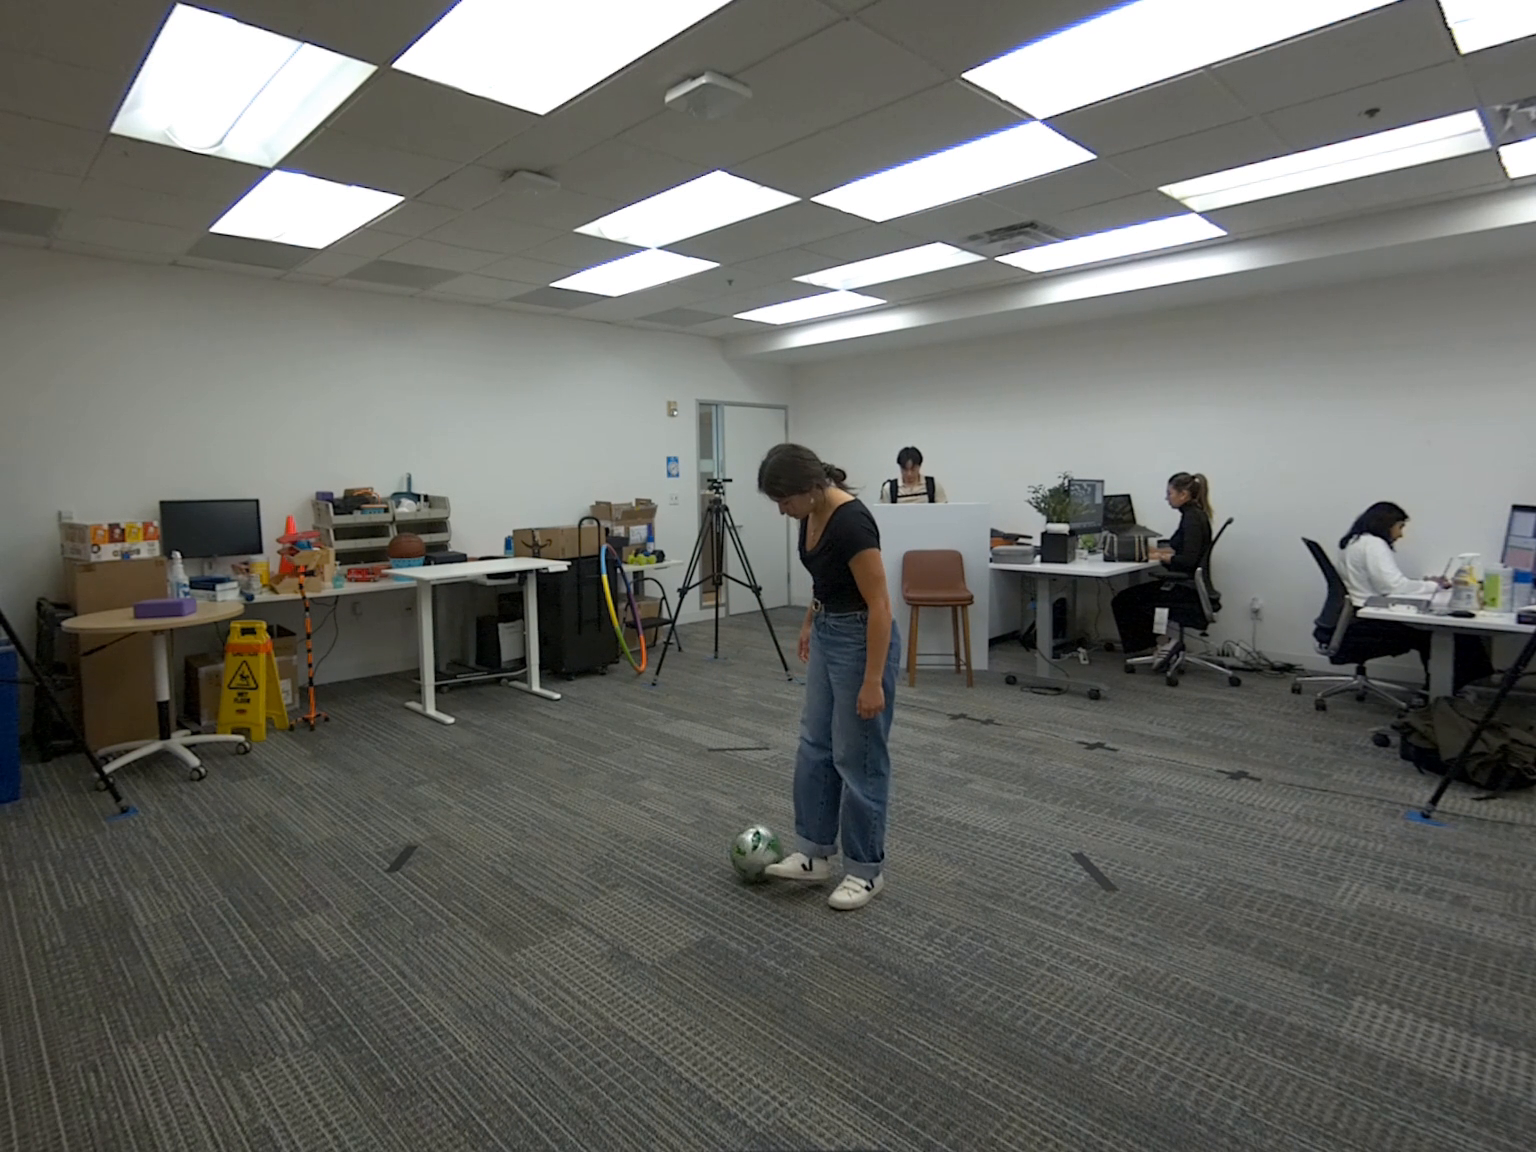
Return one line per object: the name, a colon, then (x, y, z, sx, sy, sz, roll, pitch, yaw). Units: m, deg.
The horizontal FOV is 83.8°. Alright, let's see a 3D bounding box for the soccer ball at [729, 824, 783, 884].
soccer ball: (-0.034, 0.967, 2.995, 0.187, 0.187, 0.188, -1, 5, -2)
